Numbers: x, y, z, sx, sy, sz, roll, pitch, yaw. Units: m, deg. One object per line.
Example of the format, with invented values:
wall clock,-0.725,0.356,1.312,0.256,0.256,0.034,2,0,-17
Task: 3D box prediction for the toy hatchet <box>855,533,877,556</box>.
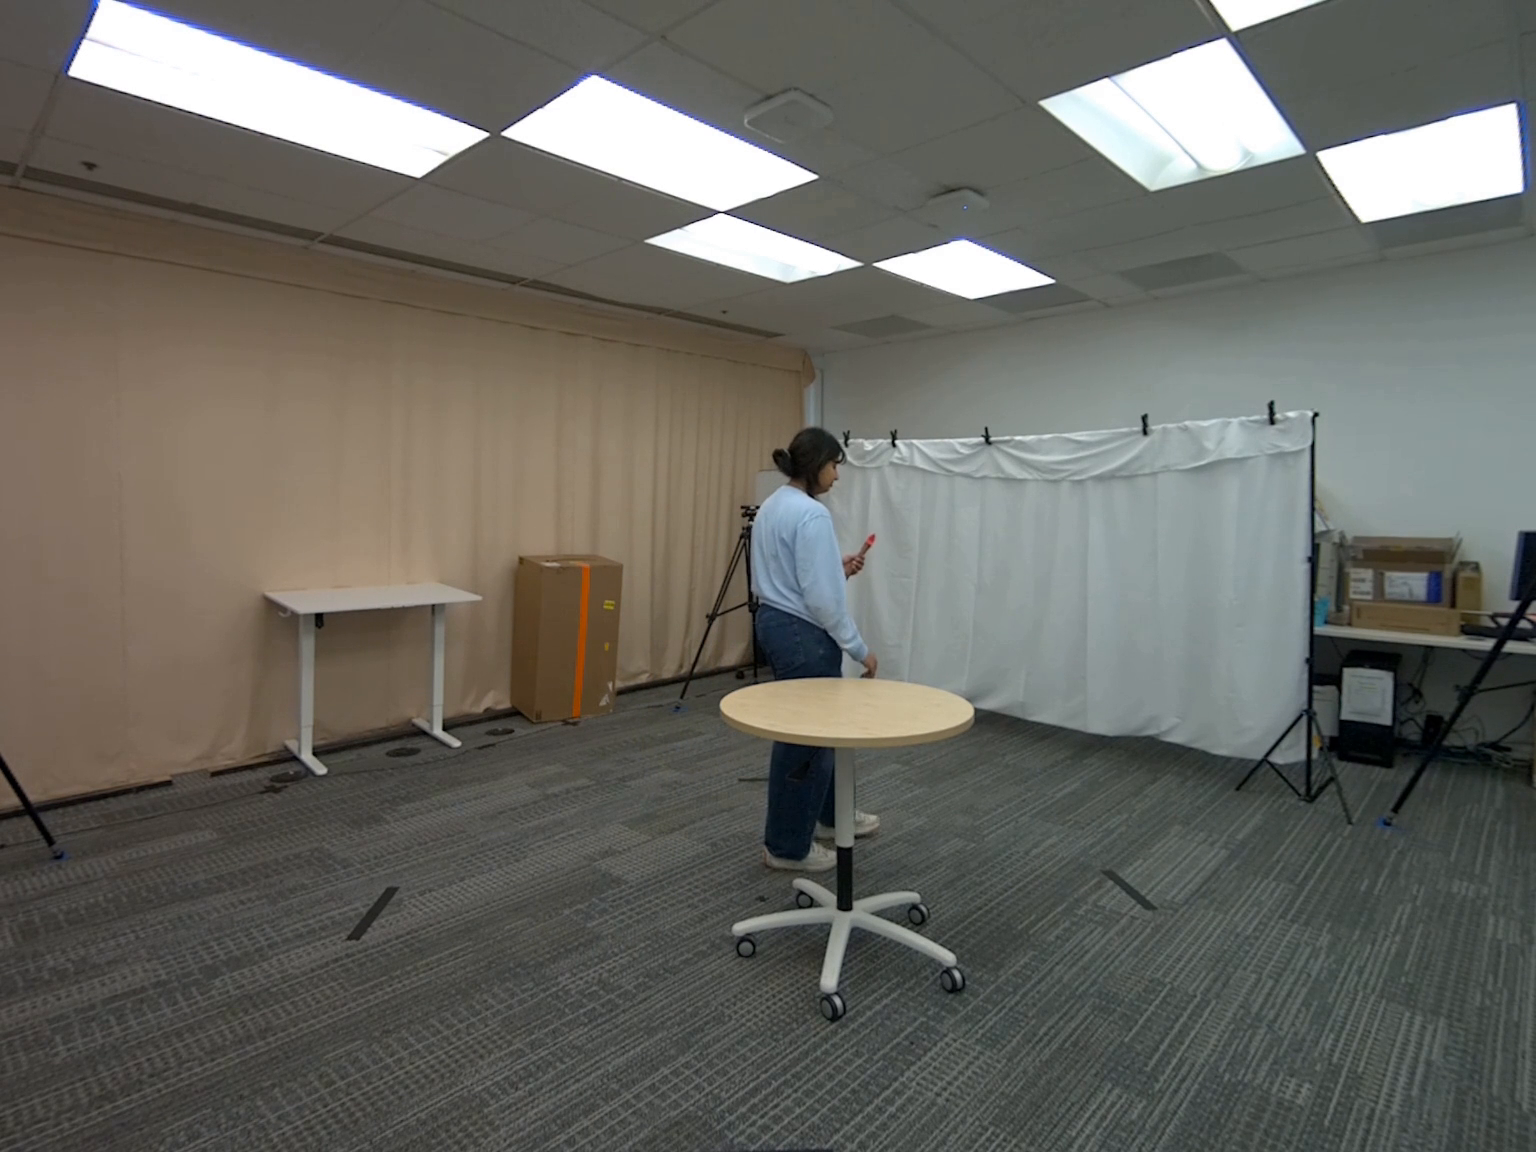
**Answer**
toy hatchet,0.366,-0.050,3.400,0.030,0.270,0.130,34,-13,5
